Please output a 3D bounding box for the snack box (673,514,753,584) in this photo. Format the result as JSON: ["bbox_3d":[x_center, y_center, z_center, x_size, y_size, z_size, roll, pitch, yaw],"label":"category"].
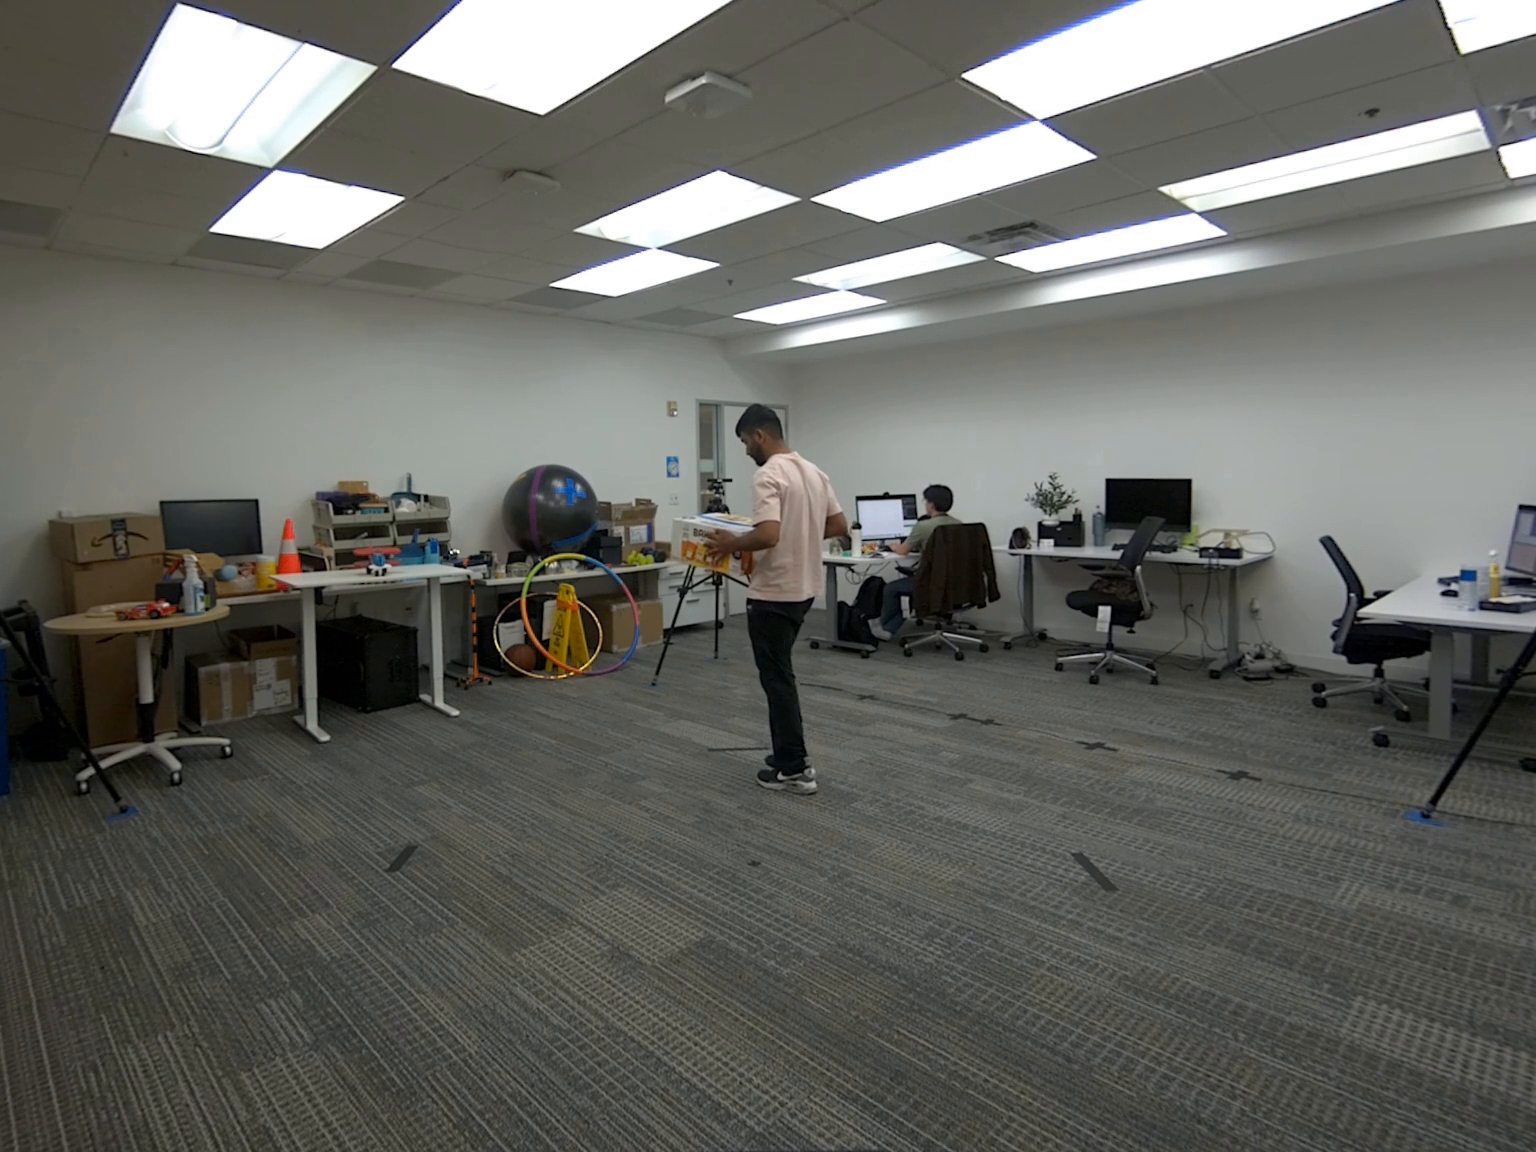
[{"bbox_3d":[-0.187,-0.155,3.996,0.418,0.204,0.332,11,13,35],"label":"snack box"}]
